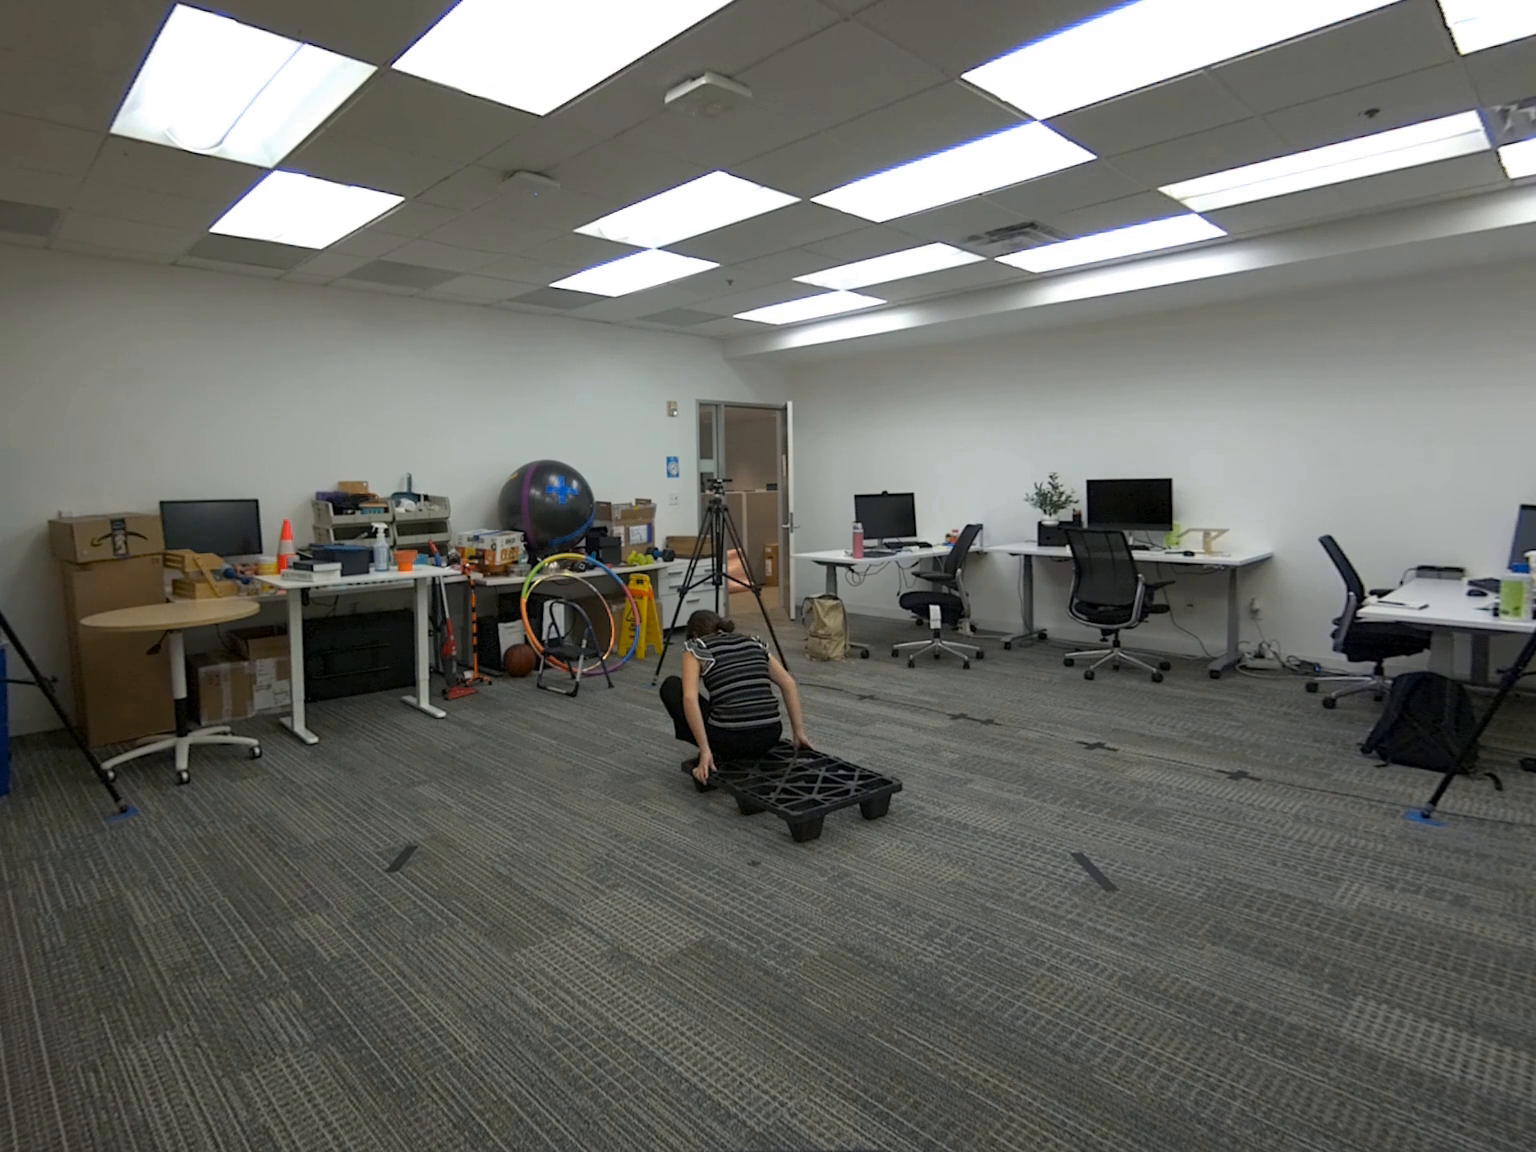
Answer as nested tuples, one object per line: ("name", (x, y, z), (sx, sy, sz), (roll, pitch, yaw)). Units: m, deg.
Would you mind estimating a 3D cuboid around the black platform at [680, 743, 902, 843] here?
("black platform", (0.085, 0.907, 3.695), (0.589, 0.143, 0.830), (-4, 7, -37))
